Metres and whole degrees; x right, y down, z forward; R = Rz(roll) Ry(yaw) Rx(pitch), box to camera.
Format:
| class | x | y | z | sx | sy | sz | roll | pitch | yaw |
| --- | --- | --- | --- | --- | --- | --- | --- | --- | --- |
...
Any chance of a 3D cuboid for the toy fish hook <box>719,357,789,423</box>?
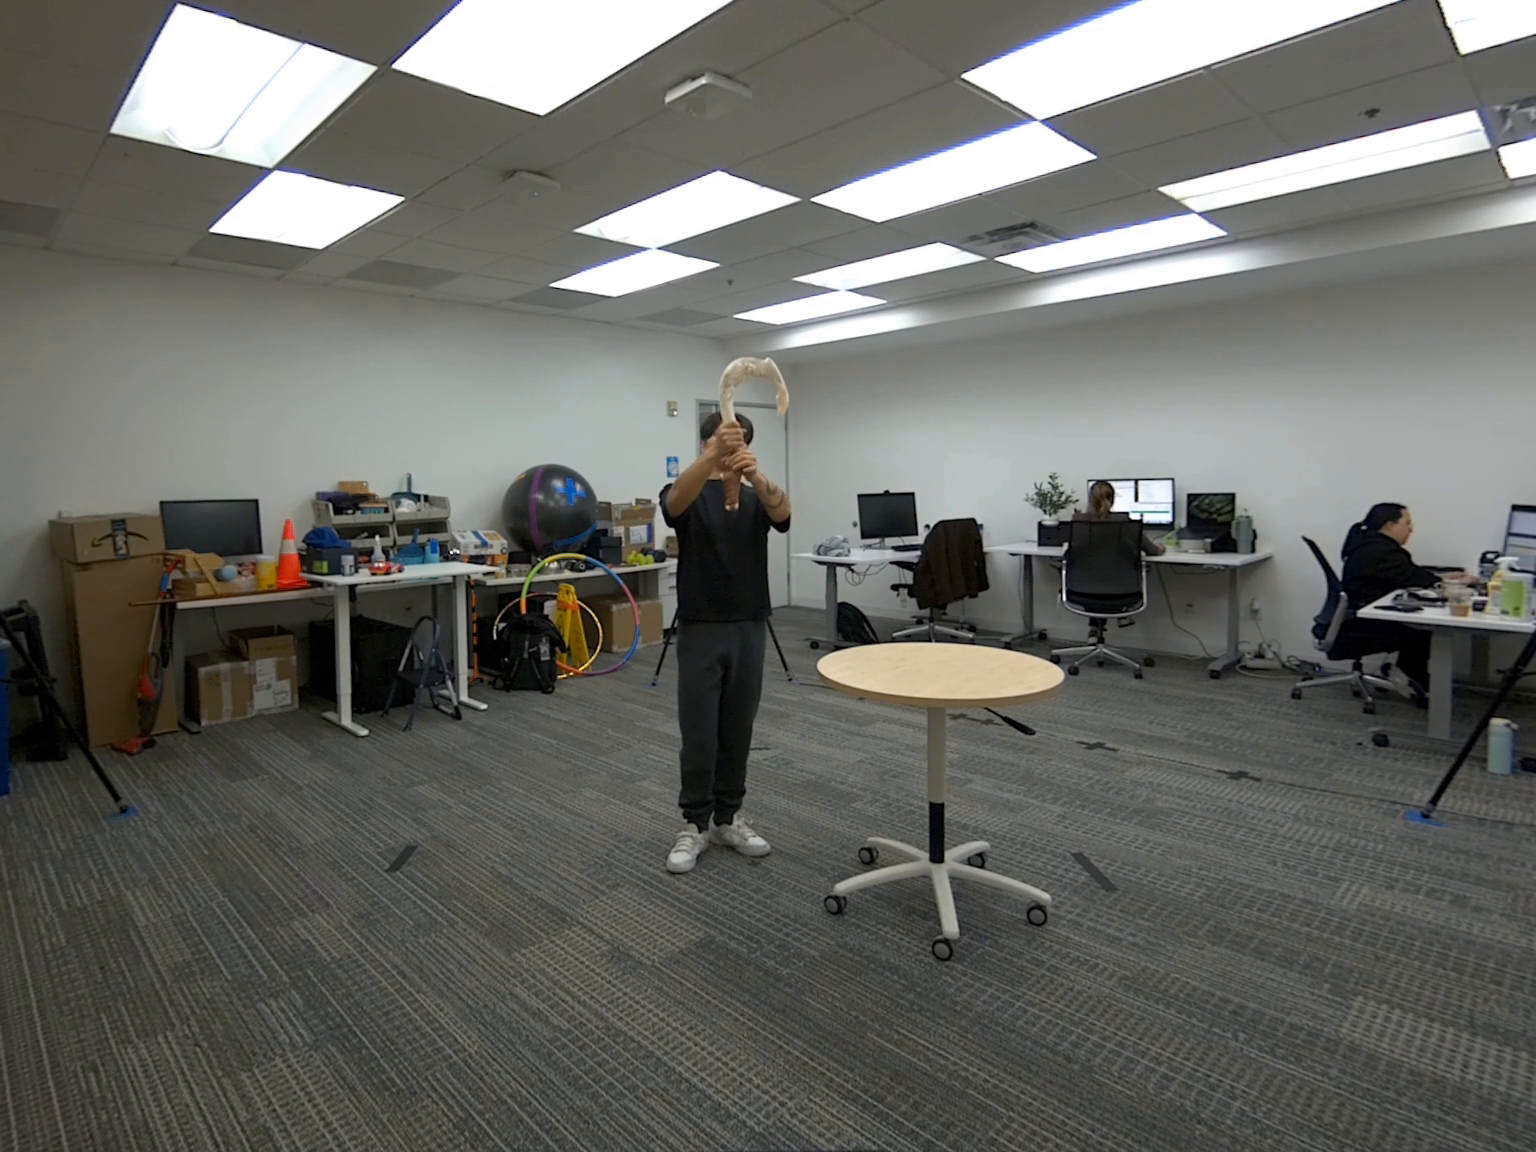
| class | x | y | z | sx | sy | sz | roll | pitch | yaw |
| --- | --- | --- | --- | --- | --- | --- | --- | --- | --- |
| toy fish hook | -0.055 | -0.454 | 2.735 | 0.226 | 0.508 | 0.048 | 0 | -4 | 6 |
